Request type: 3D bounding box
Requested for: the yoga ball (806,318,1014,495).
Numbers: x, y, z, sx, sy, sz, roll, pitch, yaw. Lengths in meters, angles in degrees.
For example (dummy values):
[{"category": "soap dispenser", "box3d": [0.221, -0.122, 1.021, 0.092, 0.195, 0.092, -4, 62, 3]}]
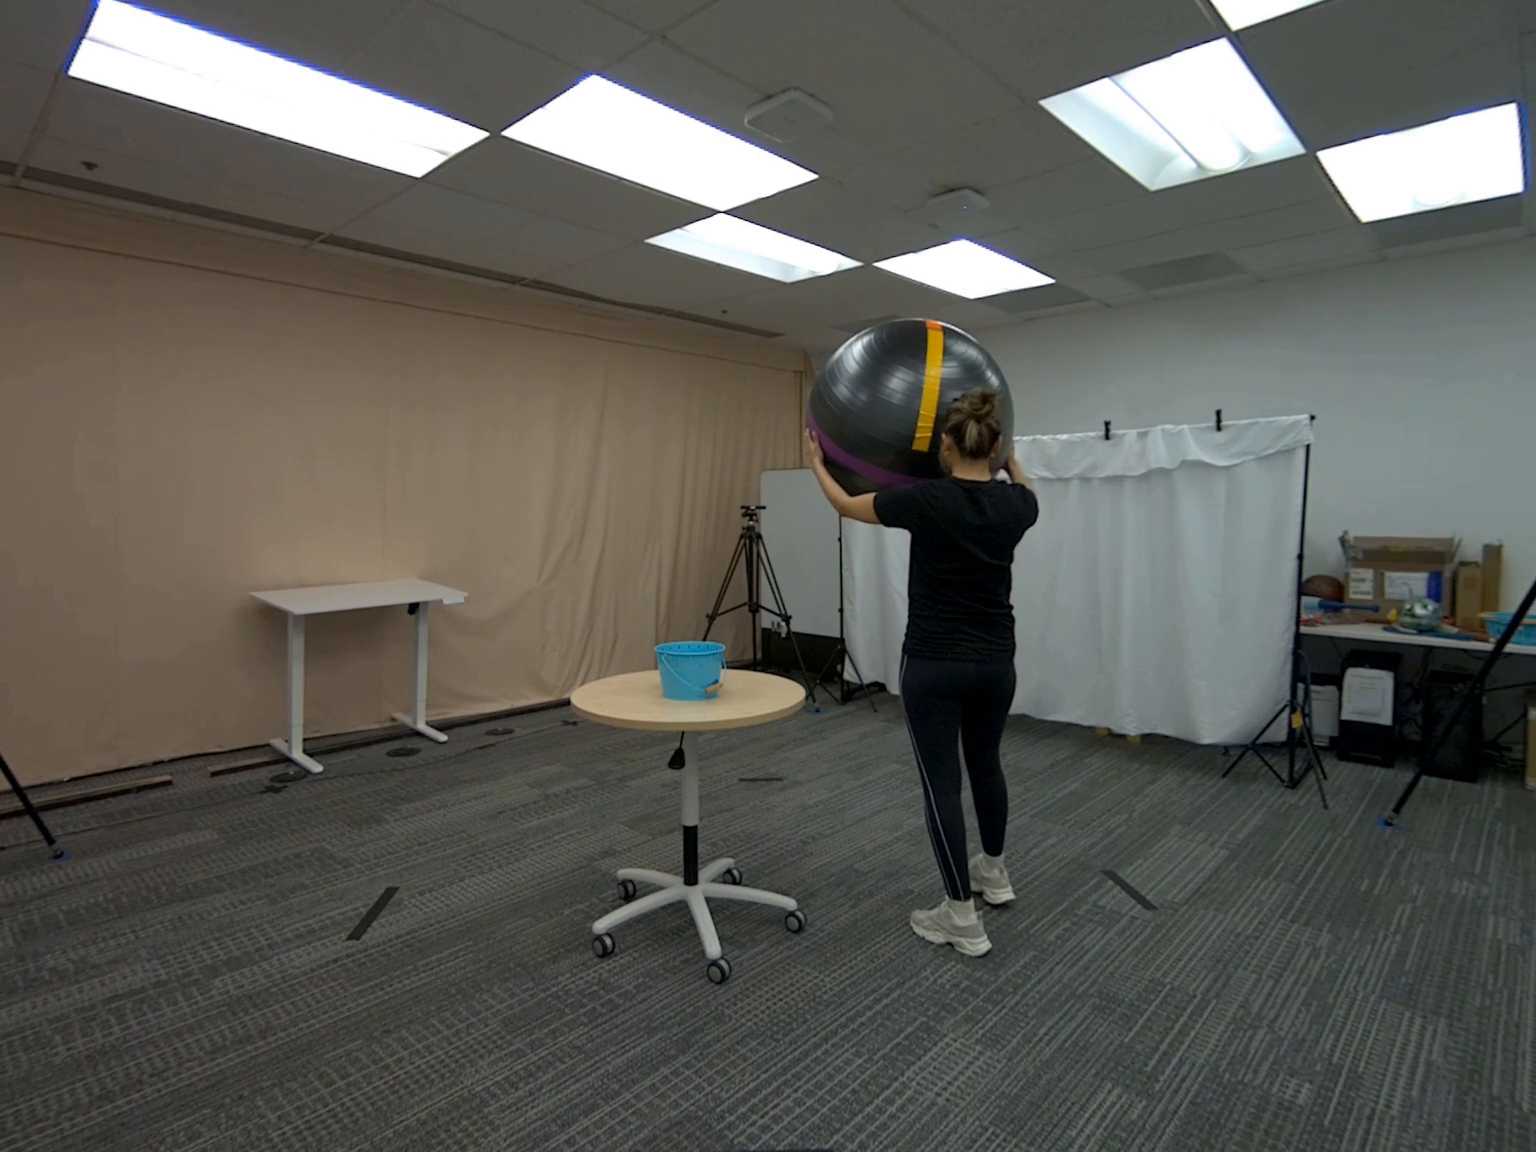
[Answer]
[{"category": "yoga ball", "box3d": [0.524, -0.562, 3.140, 0.757, 0.756, 0.761, 0, 4, -2]}]
